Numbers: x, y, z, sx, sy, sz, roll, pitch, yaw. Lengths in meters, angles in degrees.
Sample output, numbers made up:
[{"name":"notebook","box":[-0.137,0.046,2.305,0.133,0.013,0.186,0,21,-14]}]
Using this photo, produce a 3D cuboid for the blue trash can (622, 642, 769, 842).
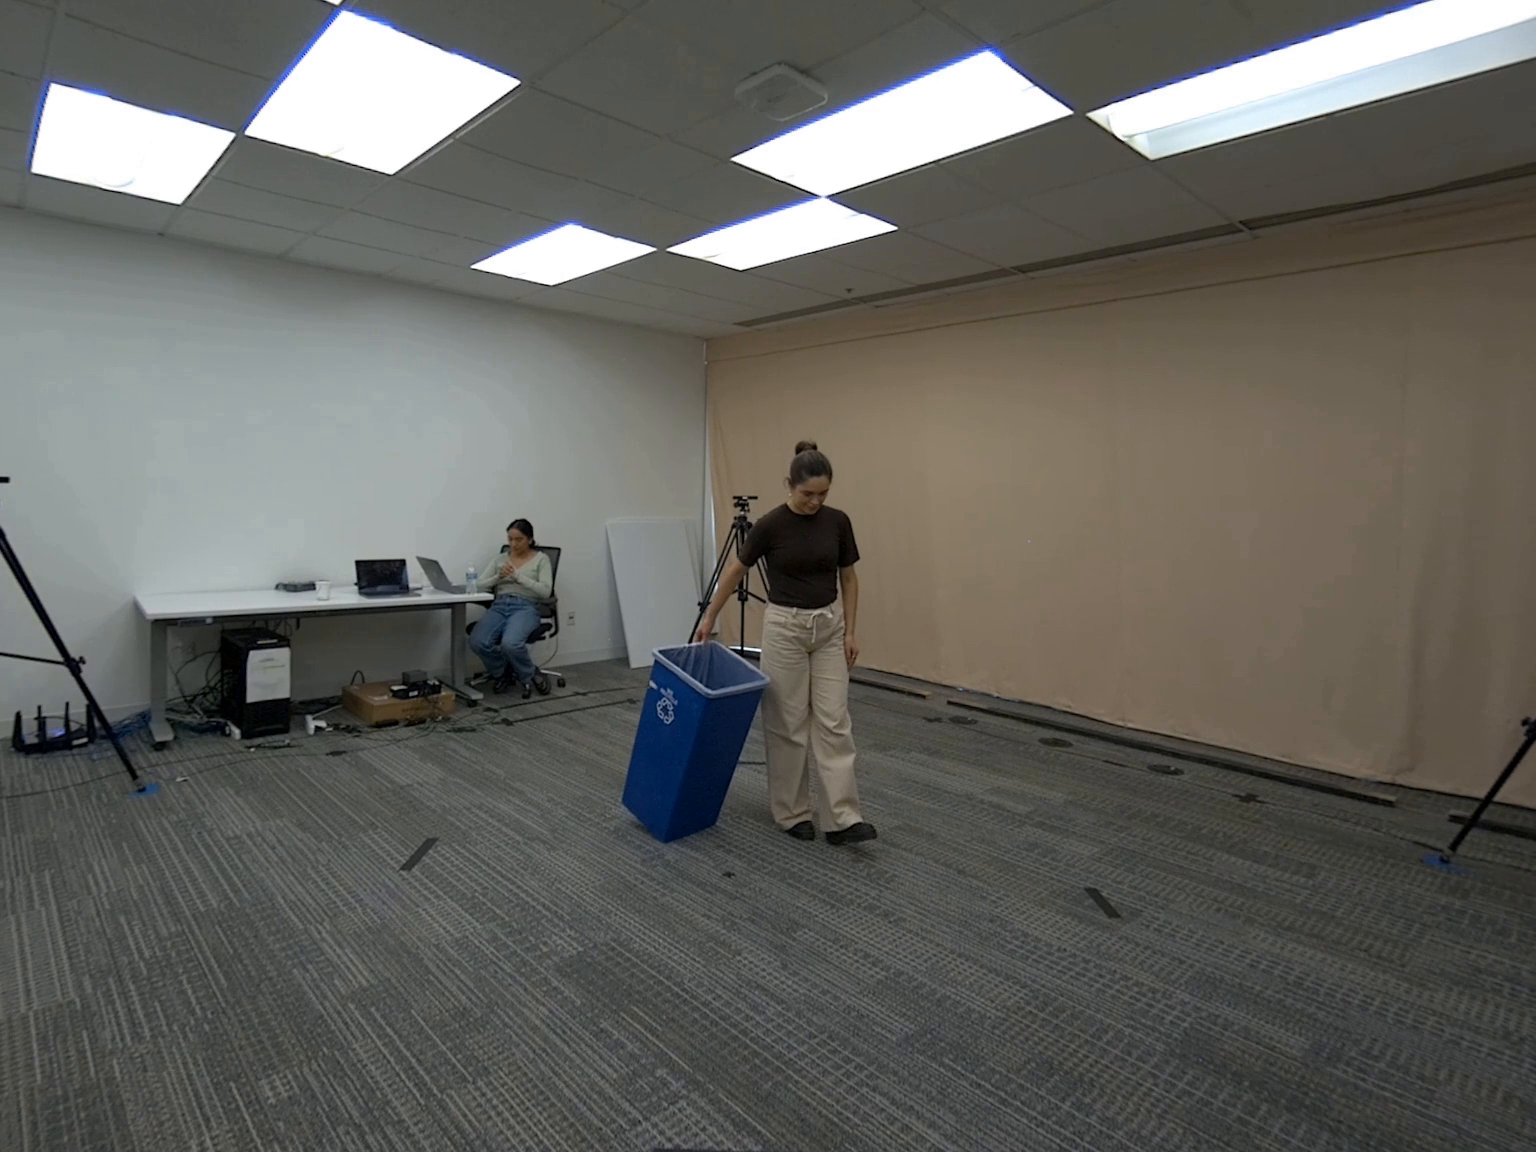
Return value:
[{"name":"blue trash can","box":[-0.325,0.684,3.465,0.385,0.708,0.369,28,20,38]}]
